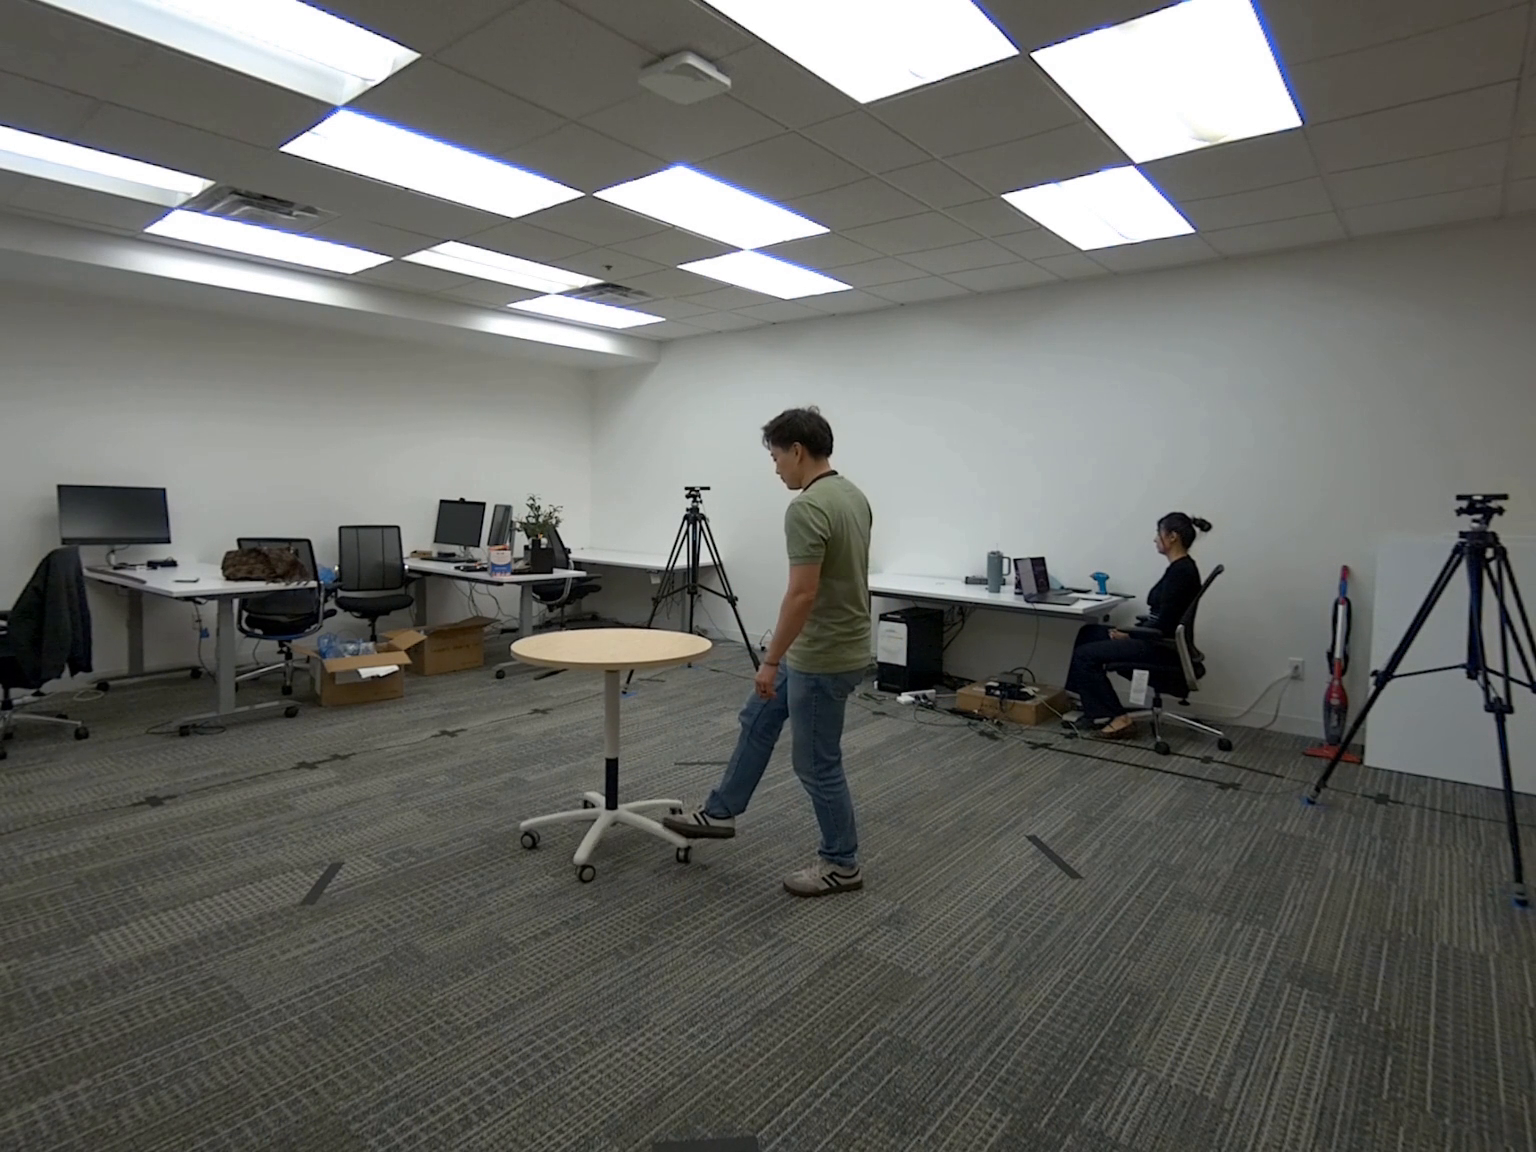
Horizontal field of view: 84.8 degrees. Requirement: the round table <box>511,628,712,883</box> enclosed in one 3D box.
[{"bbox_3d":[-0.612,0.653,3.295,0.763,0.792,0.767,0,4,-2],"label":"round table"}]
